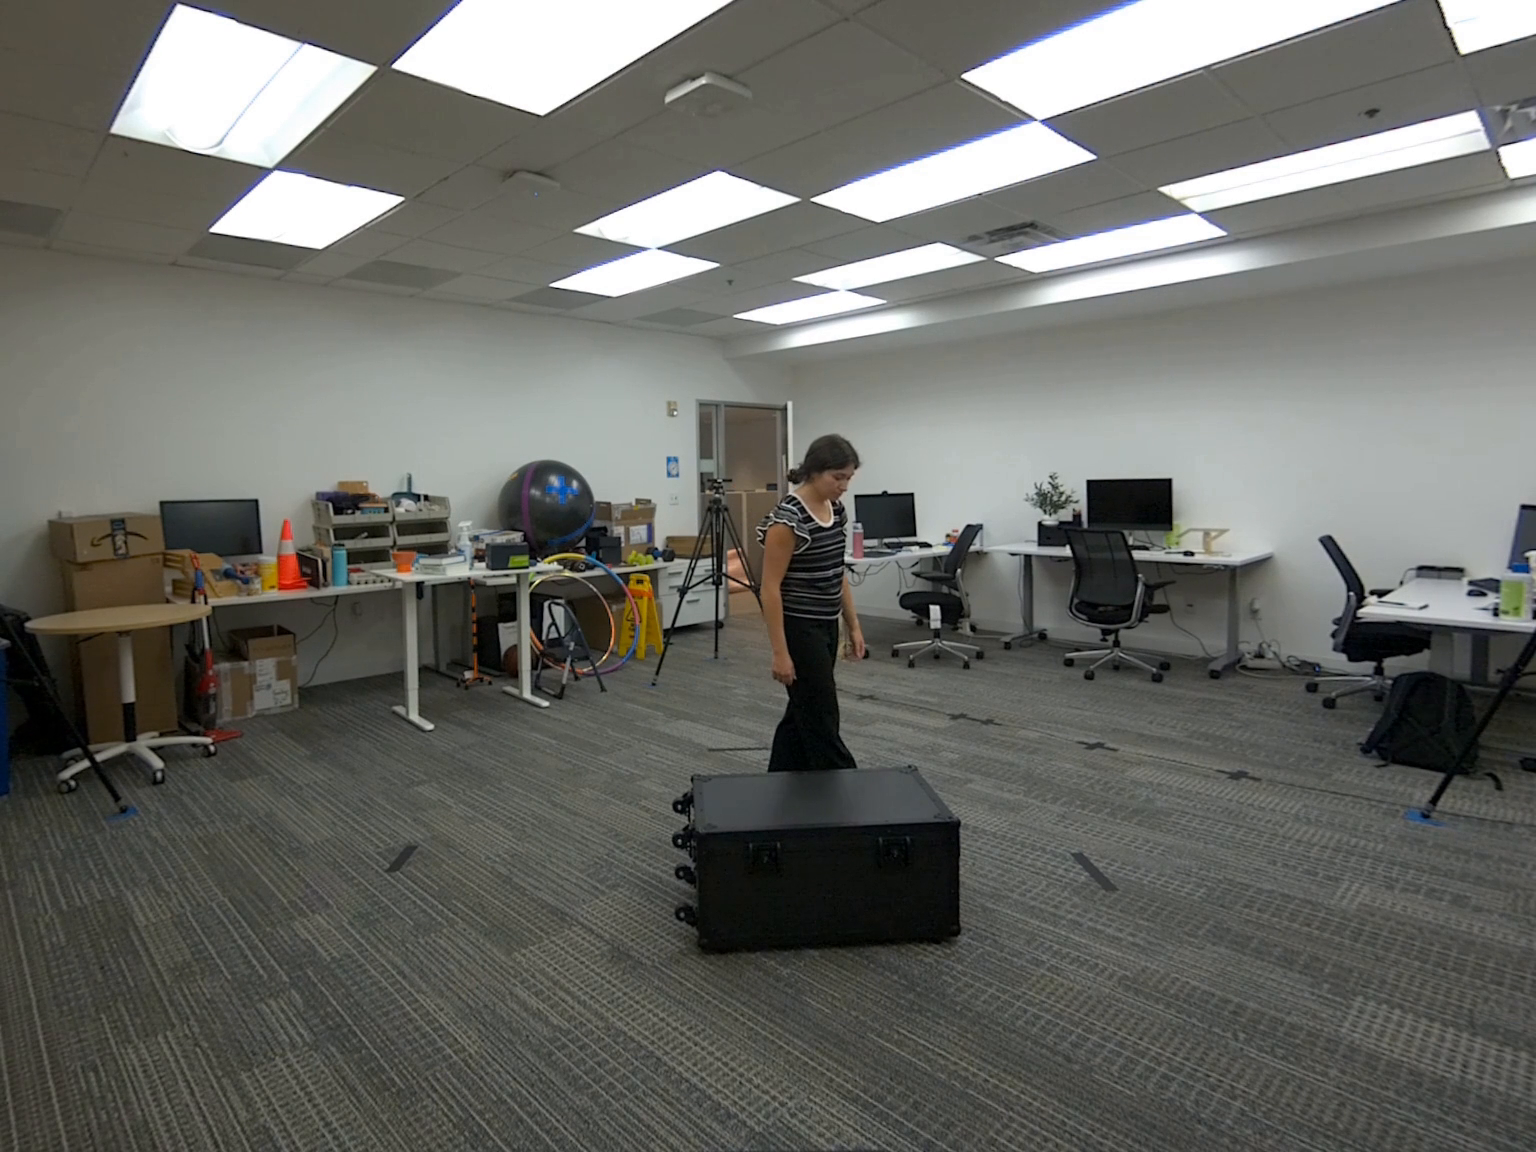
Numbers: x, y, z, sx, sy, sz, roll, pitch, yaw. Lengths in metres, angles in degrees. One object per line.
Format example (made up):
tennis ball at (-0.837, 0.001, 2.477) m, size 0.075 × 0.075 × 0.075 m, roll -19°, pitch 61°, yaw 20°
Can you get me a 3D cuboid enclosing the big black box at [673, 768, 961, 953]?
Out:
big black box at (0.123, 0.888, 2.755) m, size 0.858 × 0.395 × 0.526 m, roll -1°, pitch 5°, yaw -5°
